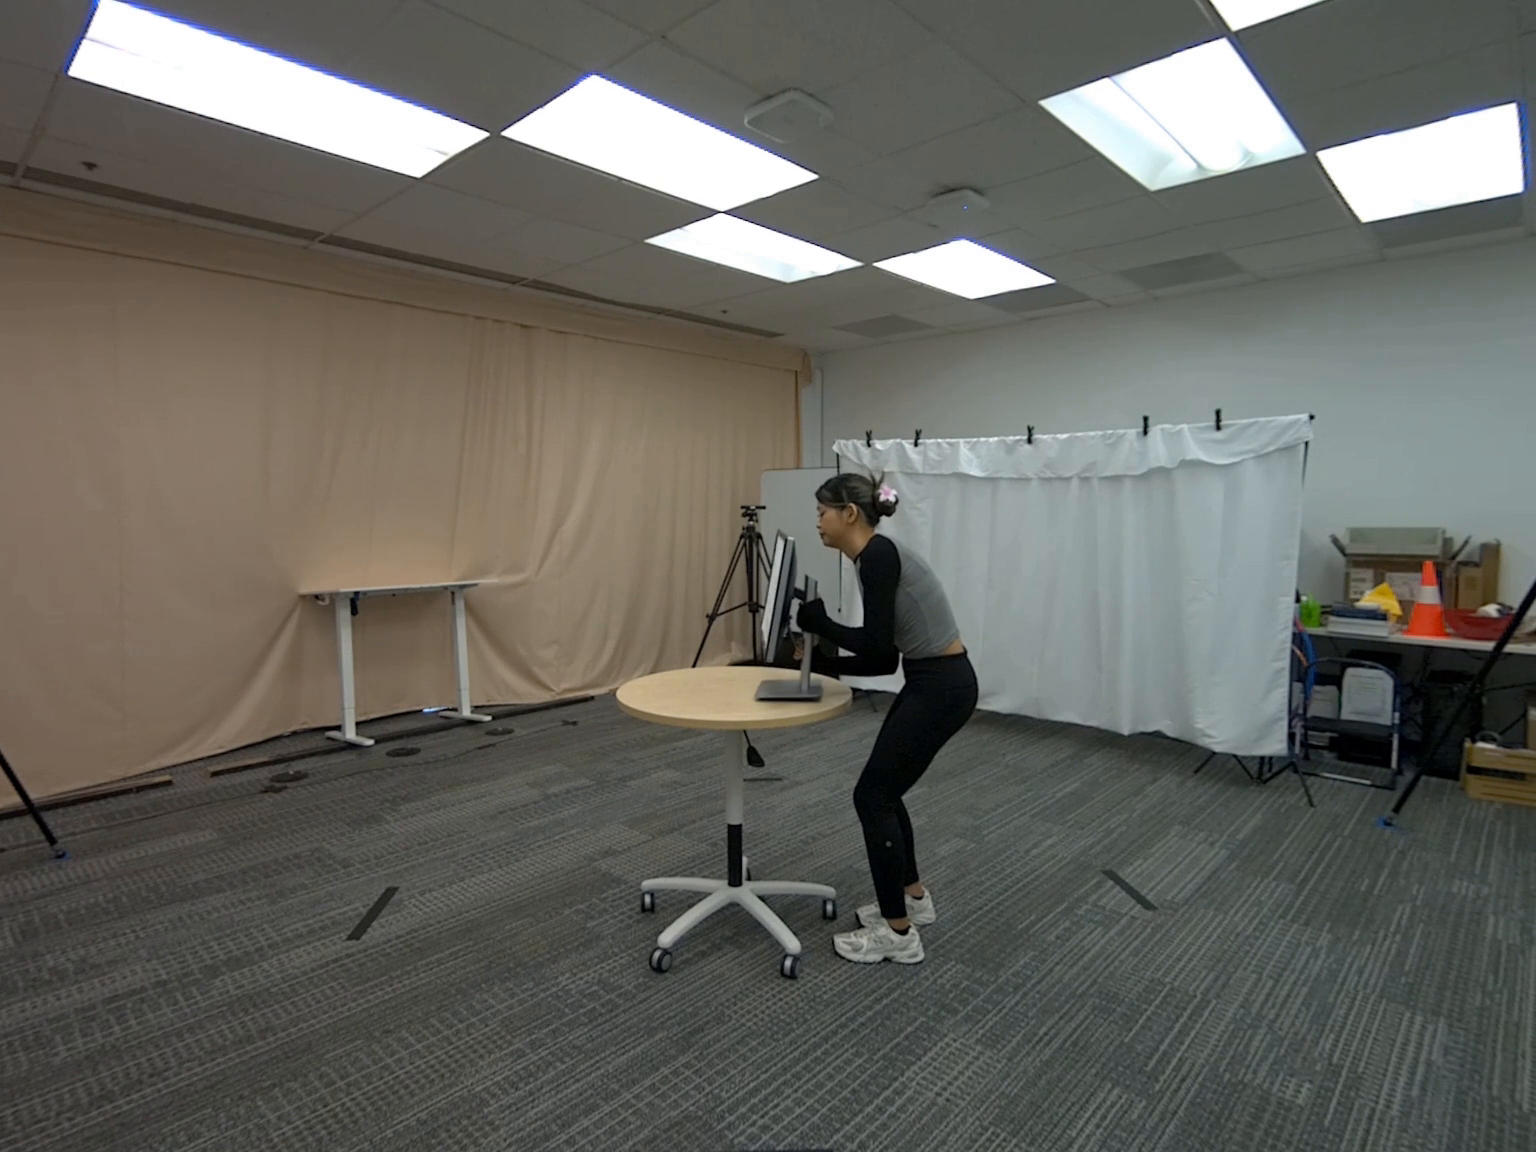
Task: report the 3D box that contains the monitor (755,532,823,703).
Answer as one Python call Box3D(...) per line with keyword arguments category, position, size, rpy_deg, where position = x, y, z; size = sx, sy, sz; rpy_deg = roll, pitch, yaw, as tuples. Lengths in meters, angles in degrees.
Box3D(category="monitor", position=(0.074, 0.122, 2.681), size=(0.187, 0.521, 0.541), rpy_deg=(-2, 5, -3))
